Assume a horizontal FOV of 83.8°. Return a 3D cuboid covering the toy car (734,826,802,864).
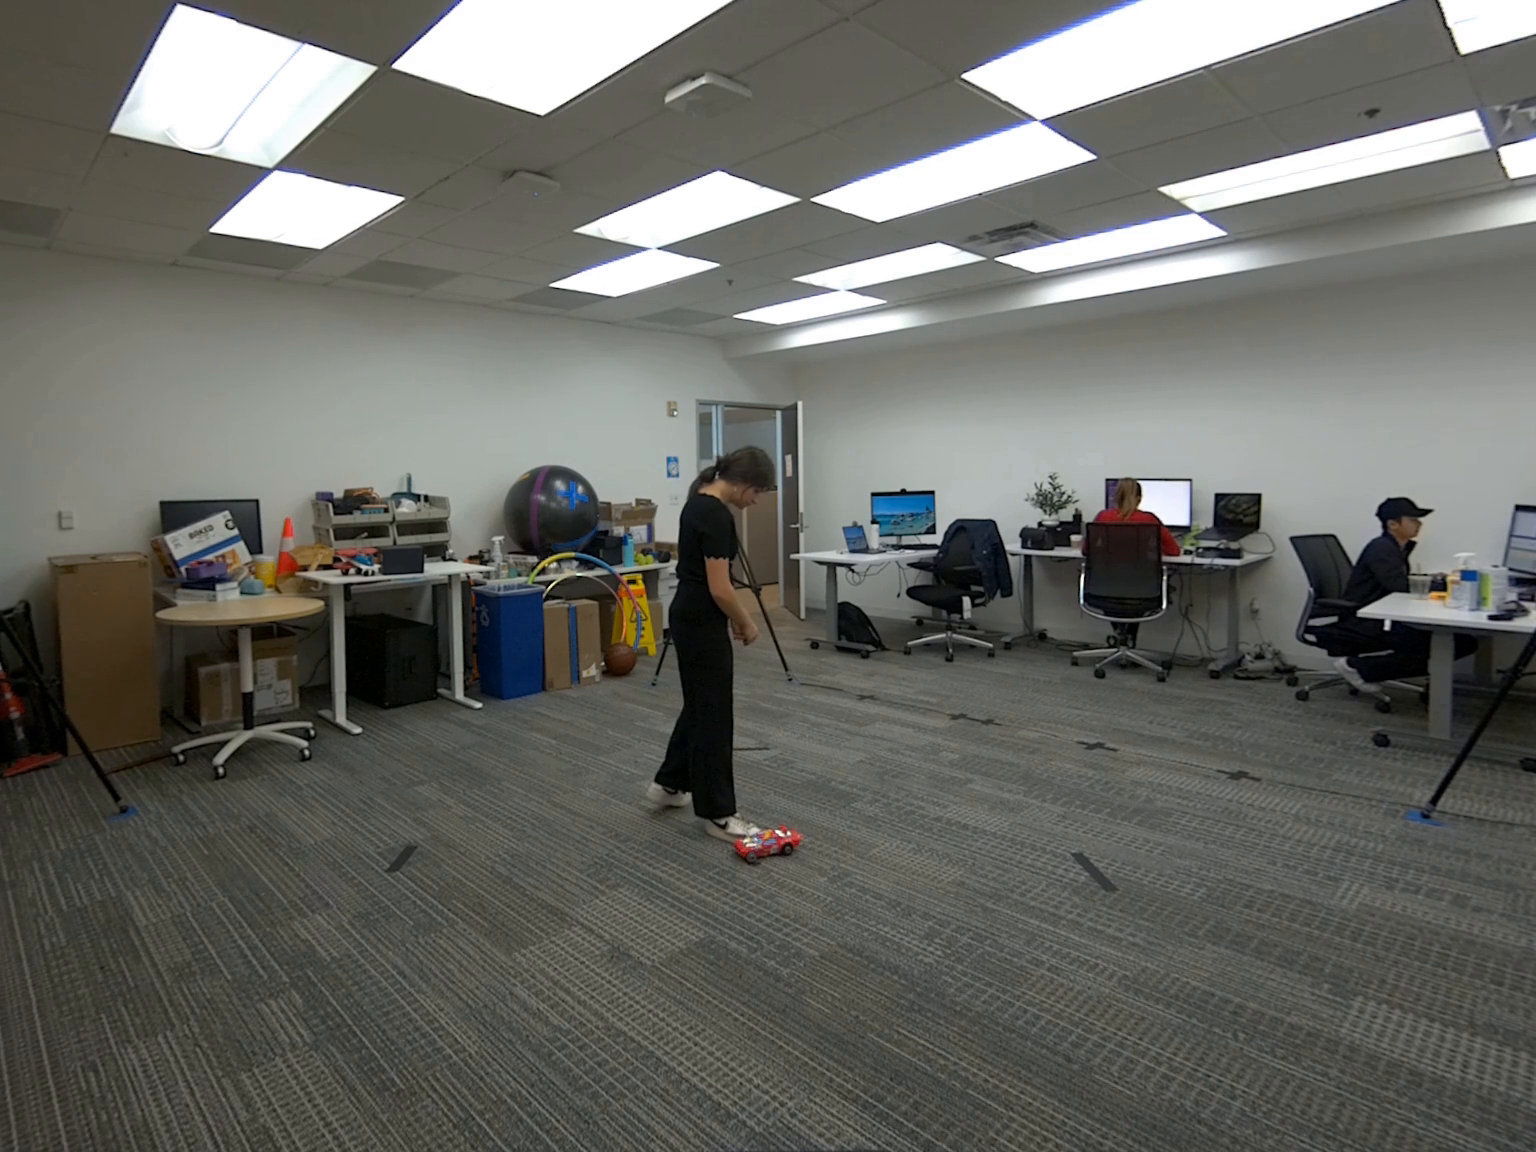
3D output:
[{"bbox_3d":[0.005,1.000,3.194,0.251,0.082,0.133,-14,9,-19],"label":"toy car"}]
